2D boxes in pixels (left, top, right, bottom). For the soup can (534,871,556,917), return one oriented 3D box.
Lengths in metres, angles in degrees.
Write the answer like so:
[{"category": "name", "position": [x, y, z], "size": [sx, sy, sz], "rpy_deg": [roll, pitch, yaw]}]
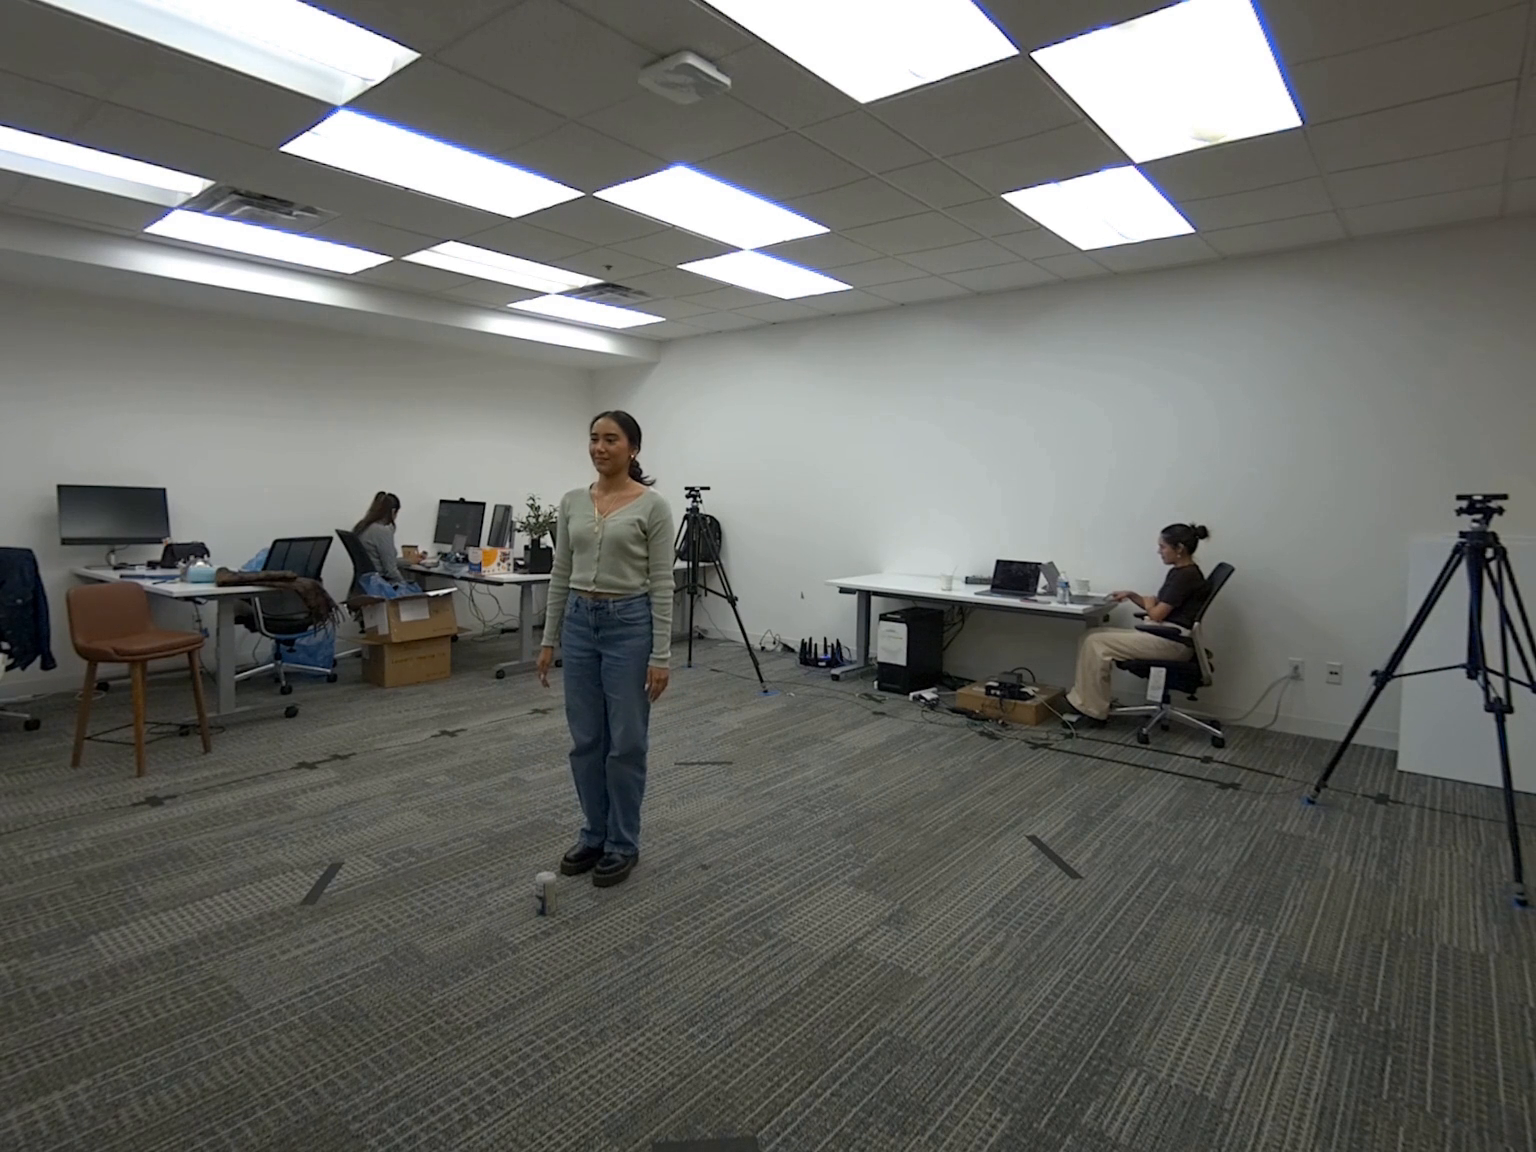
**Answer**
[{"category": "soup can", "position": [-0.740, 1.032, 2.771], "size": [0.067, 0.121, 0.068], "rpy_deg": [-1, 7, -2]}]
